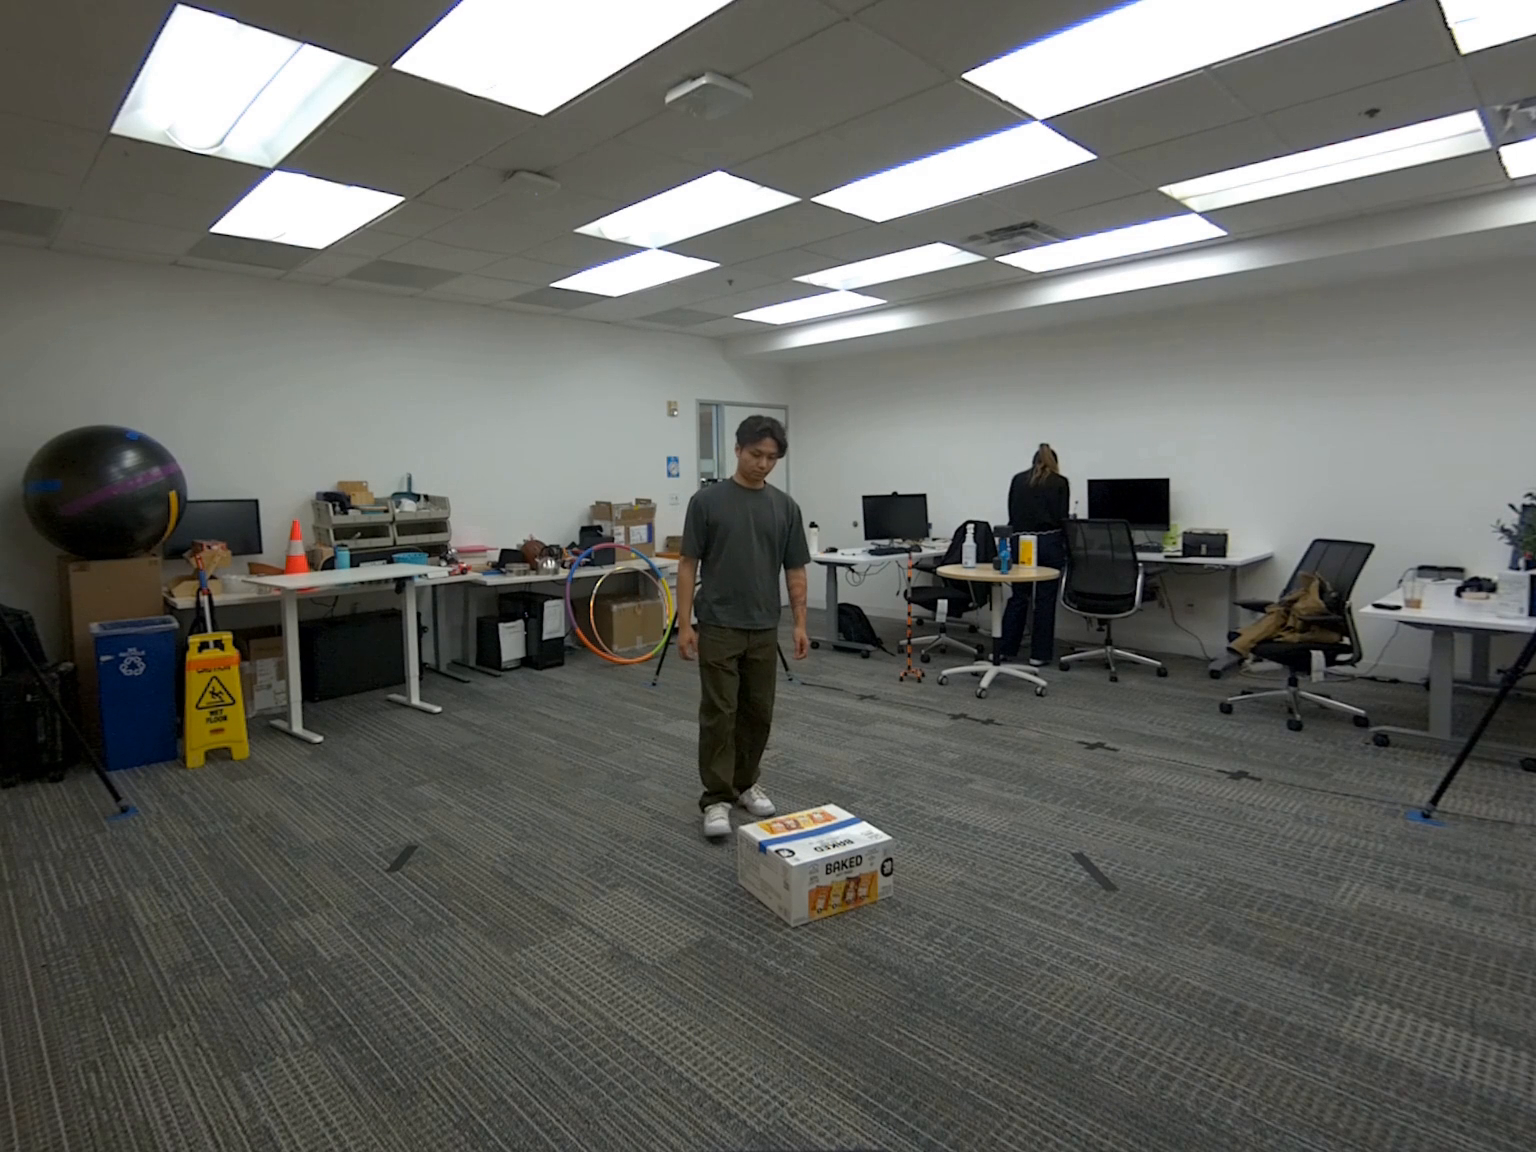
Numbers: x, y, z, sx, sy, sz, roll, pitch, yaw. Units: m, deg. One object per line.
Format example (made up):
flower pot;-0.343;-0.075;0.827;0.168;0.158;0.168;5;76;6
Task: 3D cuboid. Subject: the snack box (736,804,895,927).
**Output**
snack box;0.158;0.959;2.883;0.396;0.205;0.350;-4;6;-30
